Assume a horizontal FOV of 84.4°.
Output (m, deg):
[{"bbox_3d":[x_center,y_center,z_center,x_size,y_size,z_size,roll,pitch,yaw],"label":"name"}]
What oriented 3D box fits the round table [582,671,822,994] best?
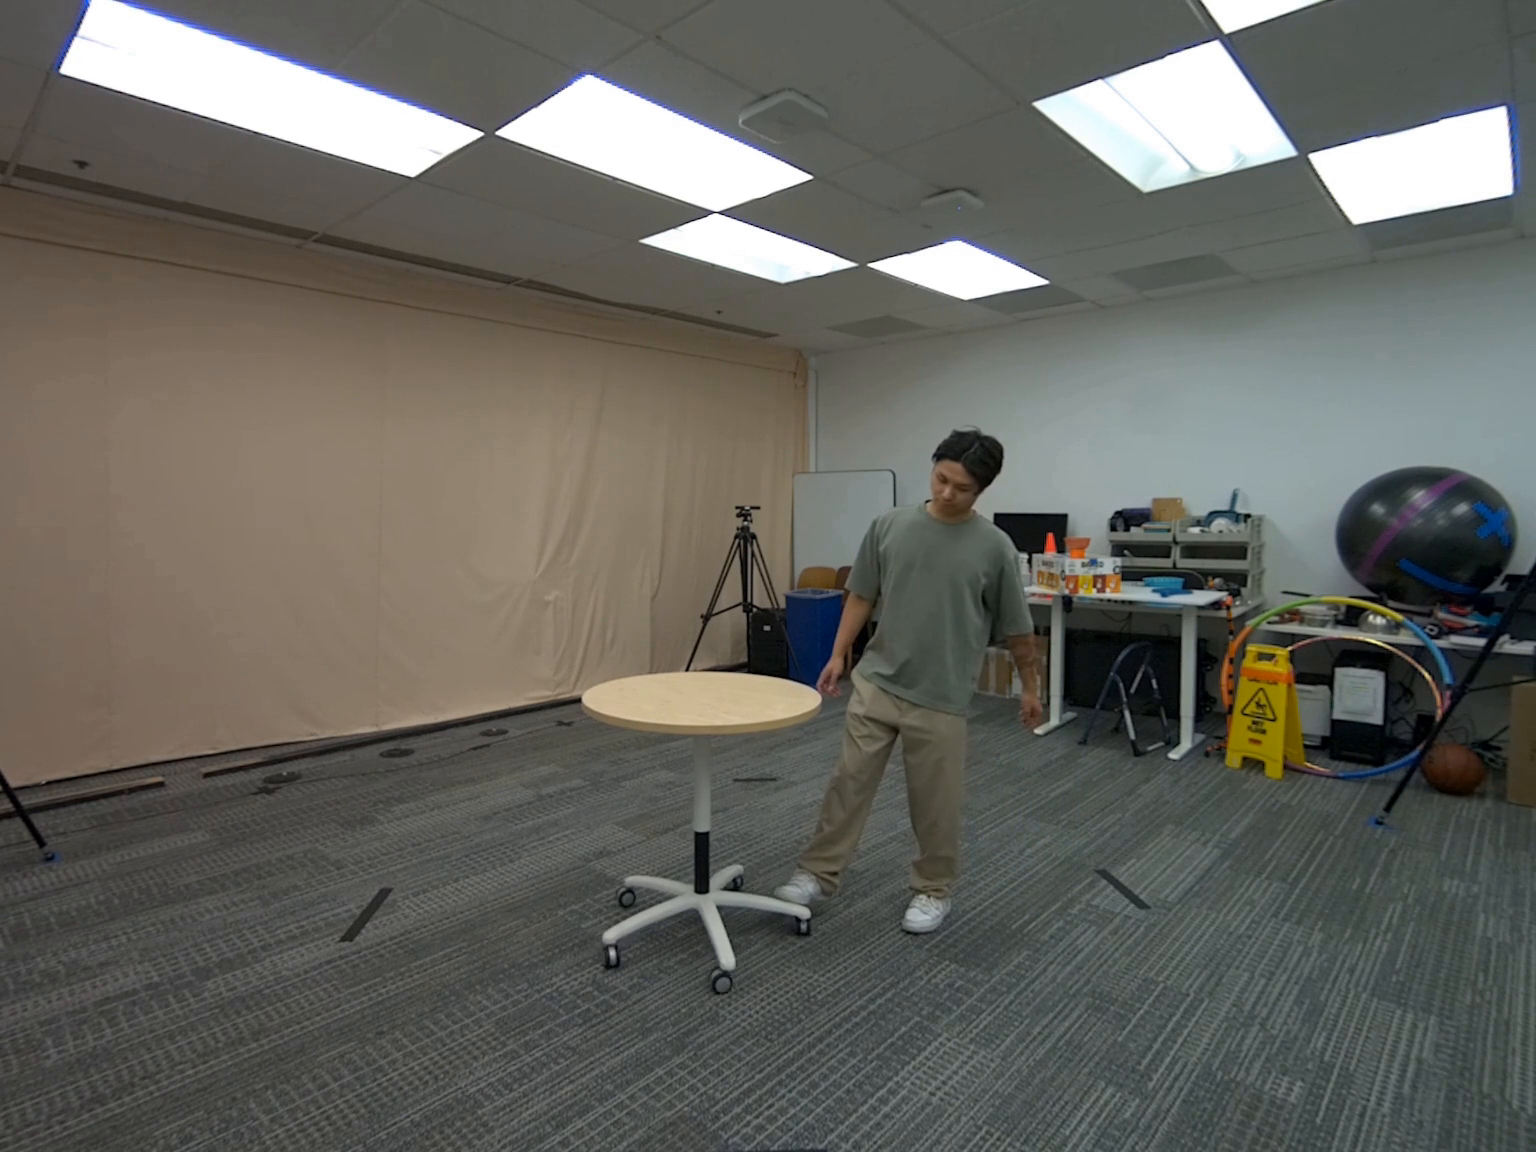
[{"bbox_3d":[-0.207,0.774,2.739,0.784,0.785,0.788,0,3,-2],"label":"round table"}]
